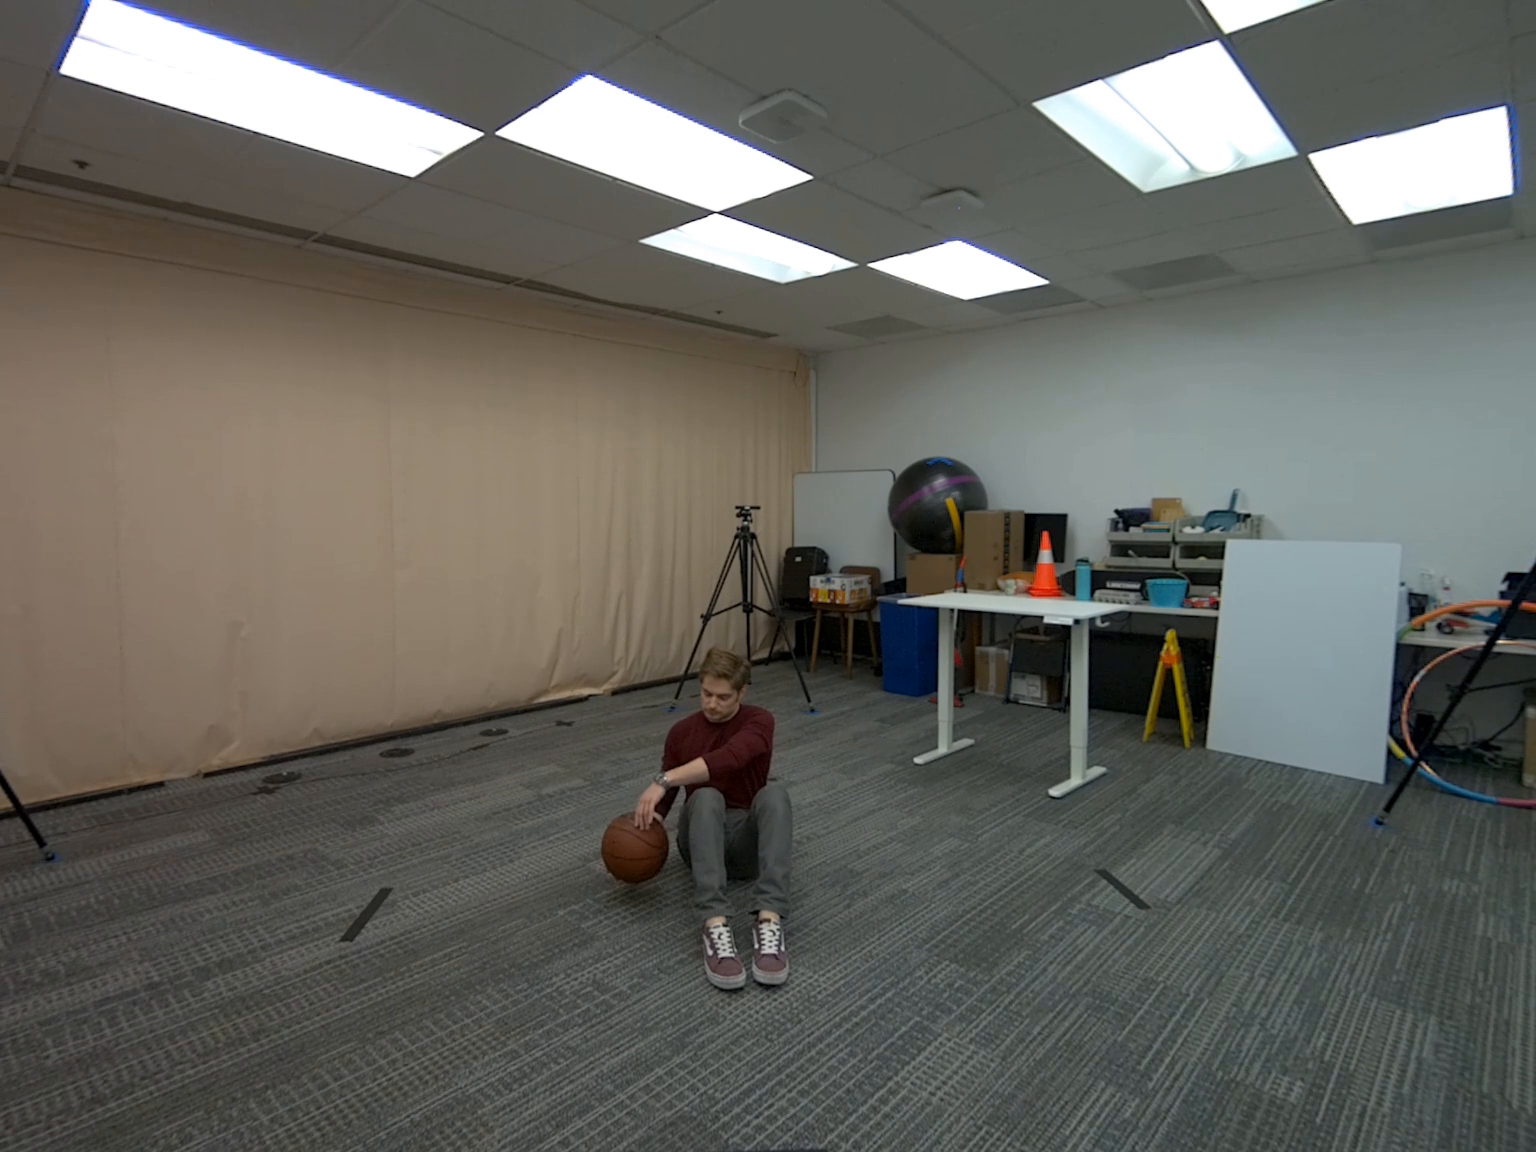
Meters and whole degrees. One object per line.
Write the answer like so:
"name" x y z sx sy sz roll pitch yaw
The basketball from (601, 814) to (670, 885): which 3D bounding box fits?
"basketball" -0.460 0.938 2.956 0.236 0.235 0.237 0 4 -2
